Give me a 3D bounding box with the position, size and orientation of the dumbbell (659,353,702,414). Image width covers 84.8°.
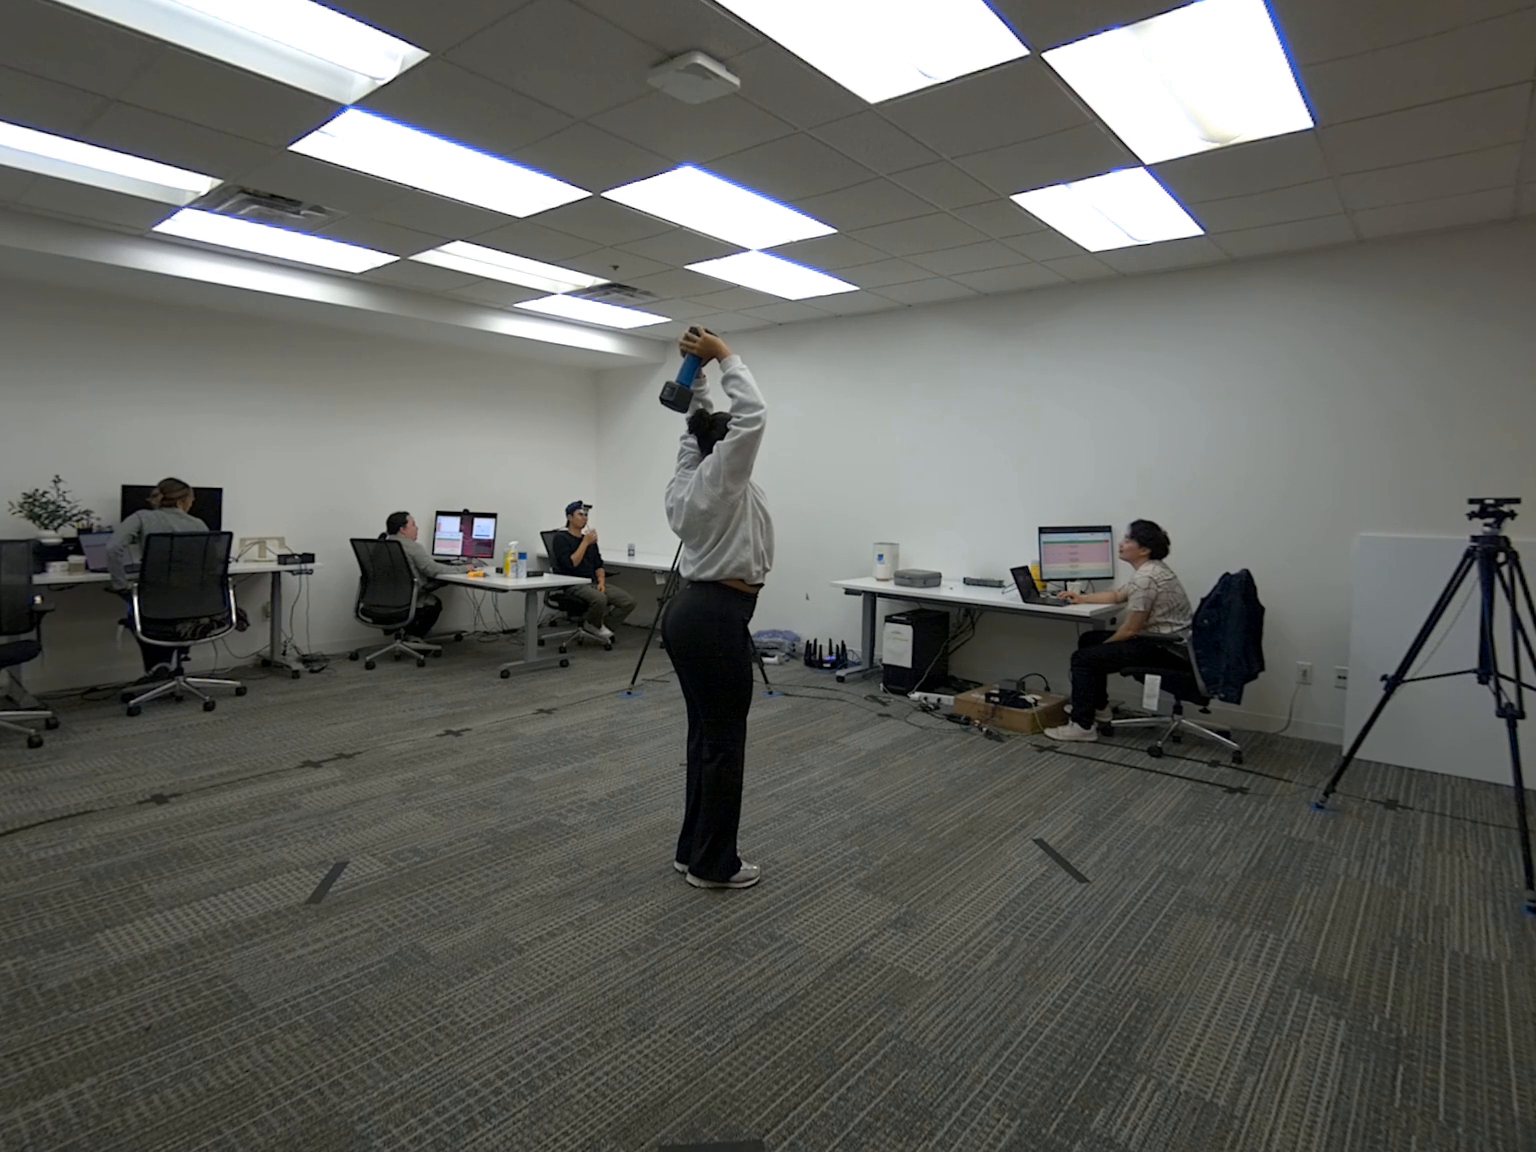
[{"bbox_3d":[-0.292,-0.712,2.973,0.127,0.294,0.105,21,-1,28],"label":"dumbbell"}]
